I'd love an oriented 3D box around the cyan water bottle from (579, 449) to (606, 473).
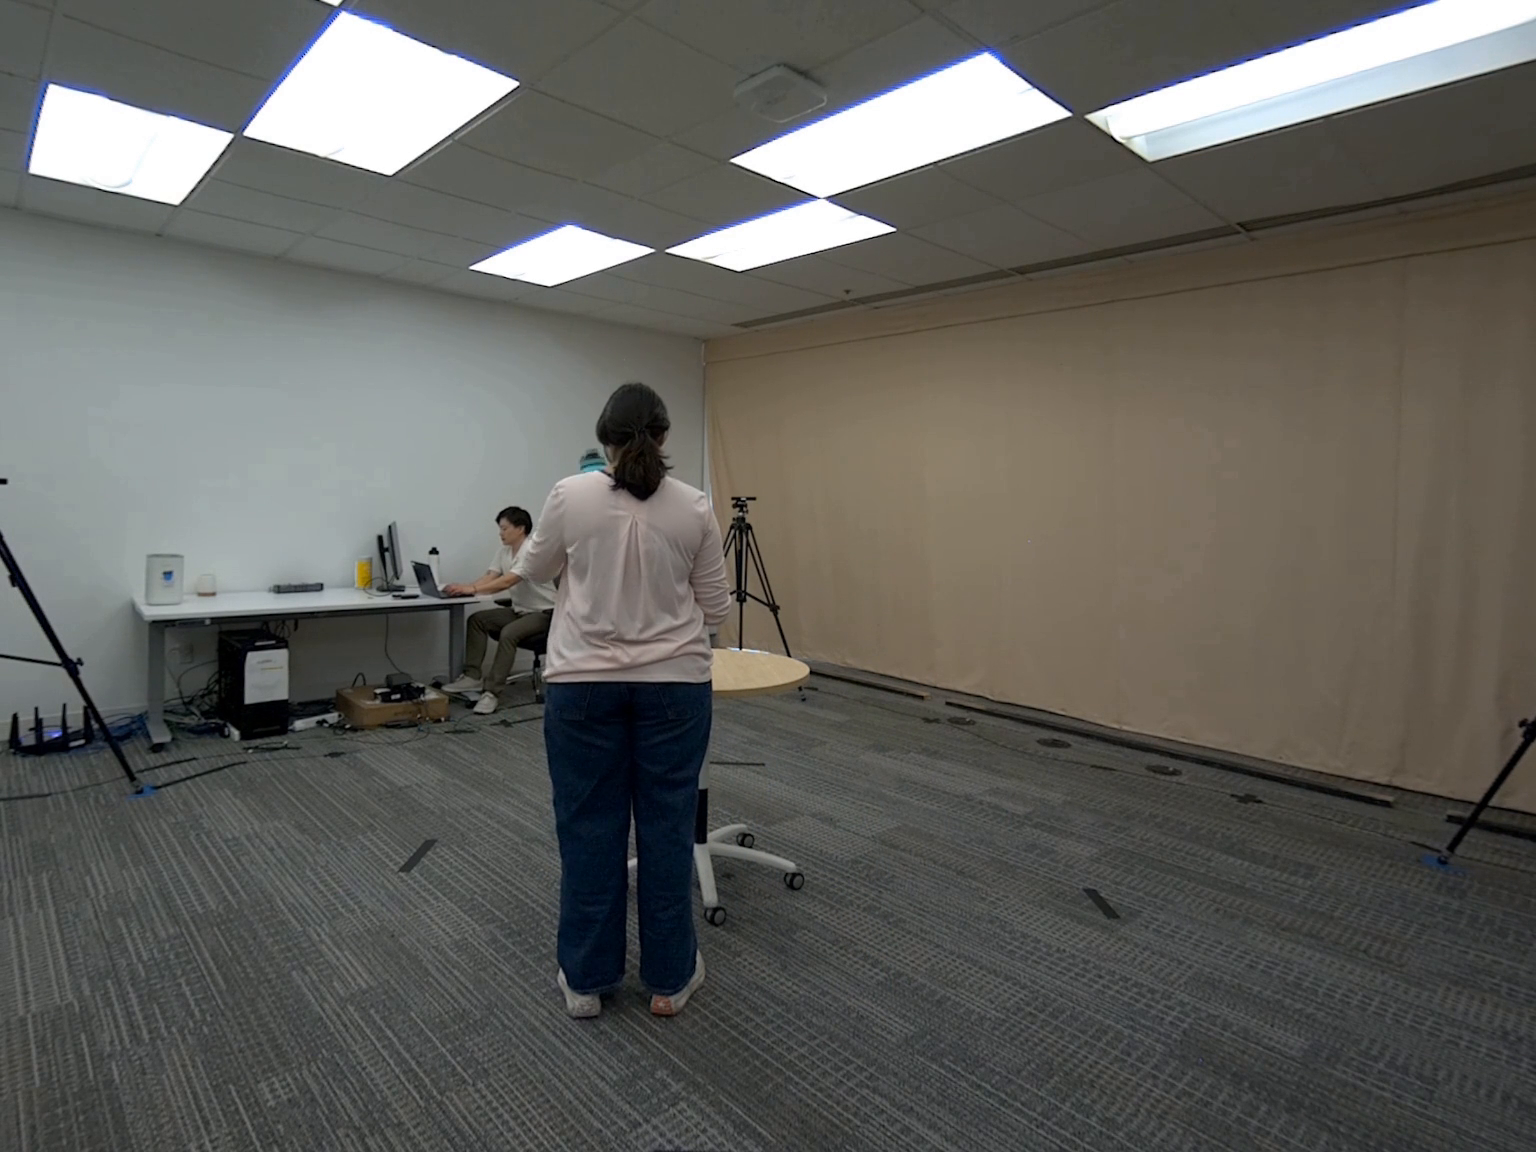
[{"bbox_3d":[-0.532,-0.242,2.582,0.092,0.285,0.092,-9,-7,-2],"label":"cyan water bottle"}]
